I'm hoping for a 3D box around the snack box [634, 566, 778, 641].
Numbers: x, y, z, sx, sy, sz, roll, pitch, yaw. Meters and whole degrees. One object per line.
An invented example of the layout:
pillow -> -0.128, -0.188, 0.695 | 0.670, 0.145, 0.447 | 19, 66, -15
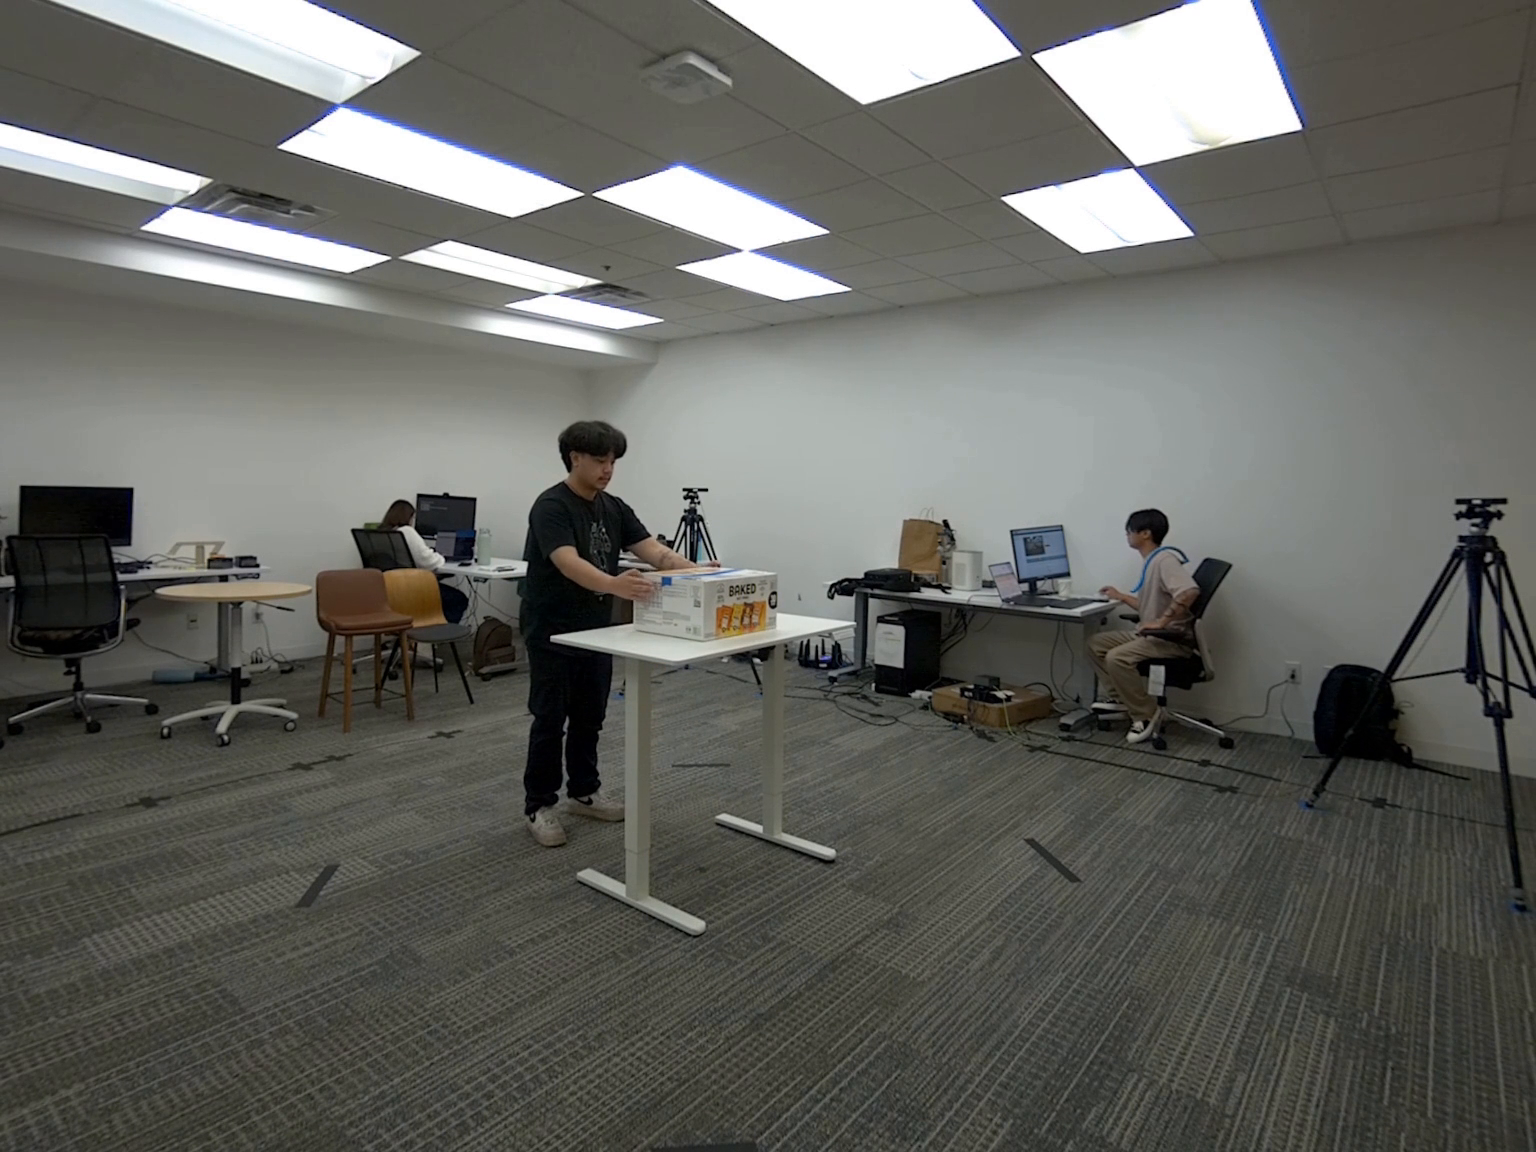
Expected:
snack box -> -0.231, 0.091, 3.057 | 0.351, 0.205, 0.393 | 4, 6, 39
